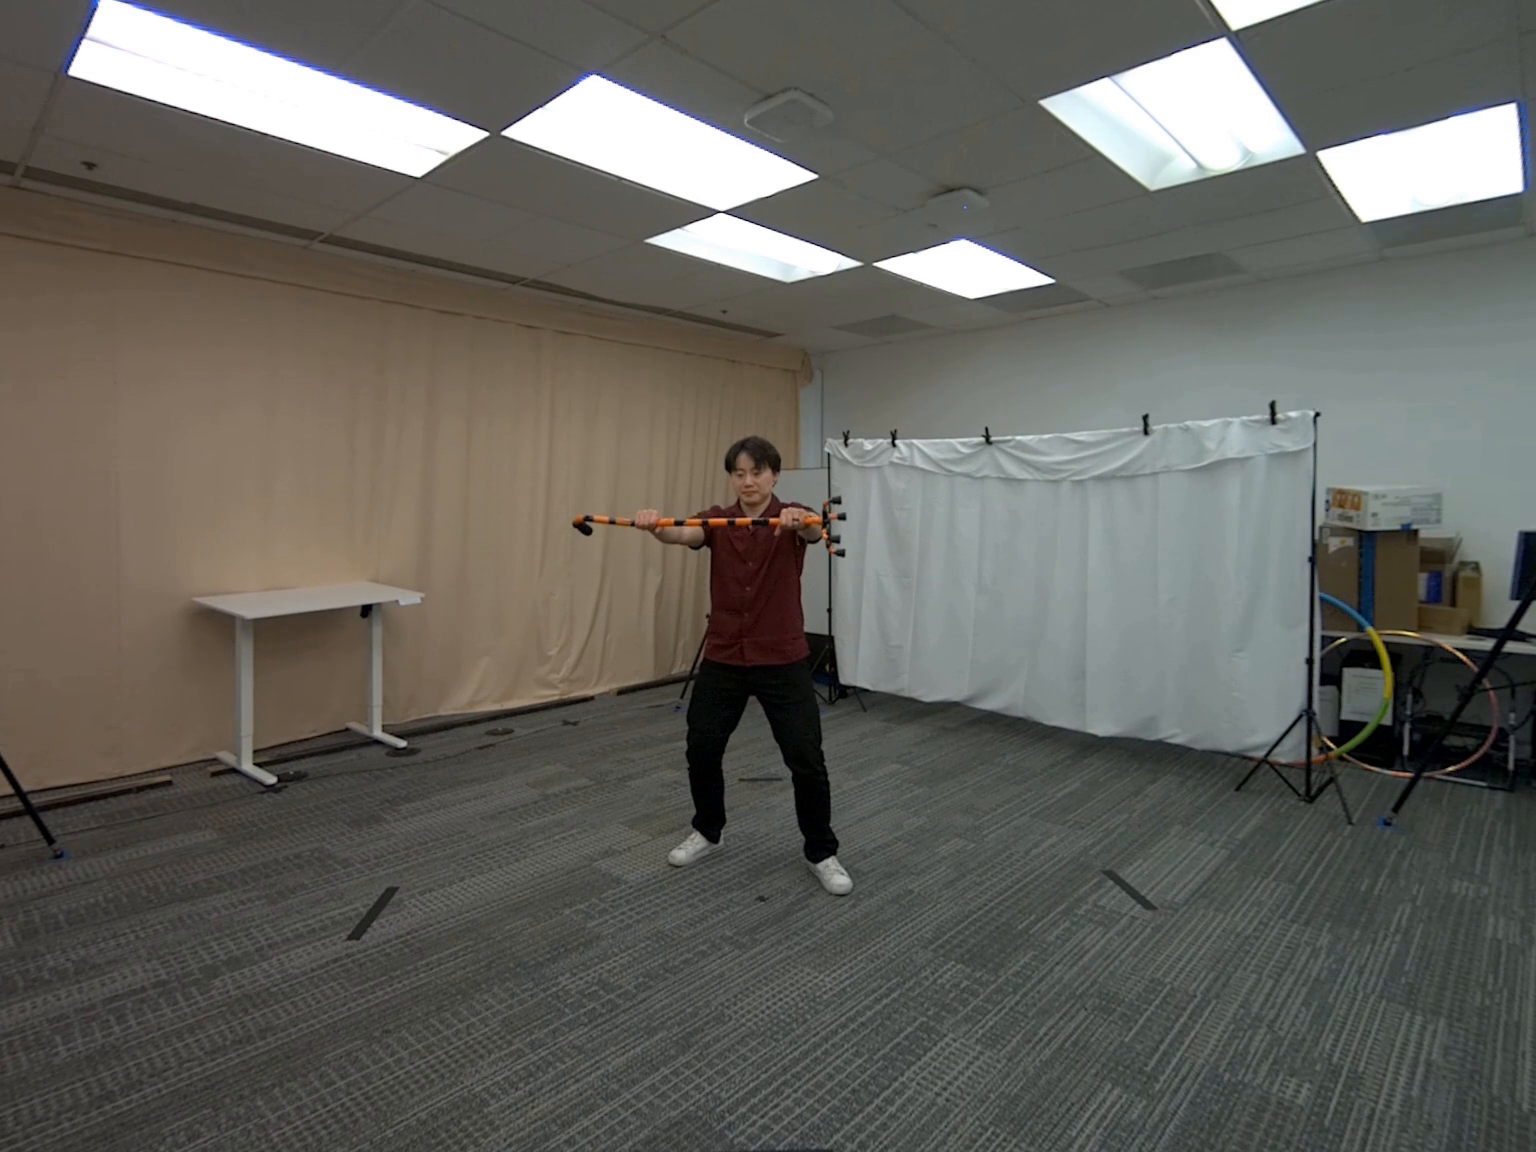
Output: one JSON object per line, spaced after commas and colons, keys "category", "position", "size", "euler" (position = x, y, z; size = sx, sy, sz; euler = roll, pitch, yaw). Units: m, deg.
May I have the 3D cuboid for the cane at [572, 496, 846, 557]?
{"category": "cane", "position": [-0.211, -0.149, 2.749], "size": [0.922, 0.152, 0.202], "euler": [1, -12, 14]}
